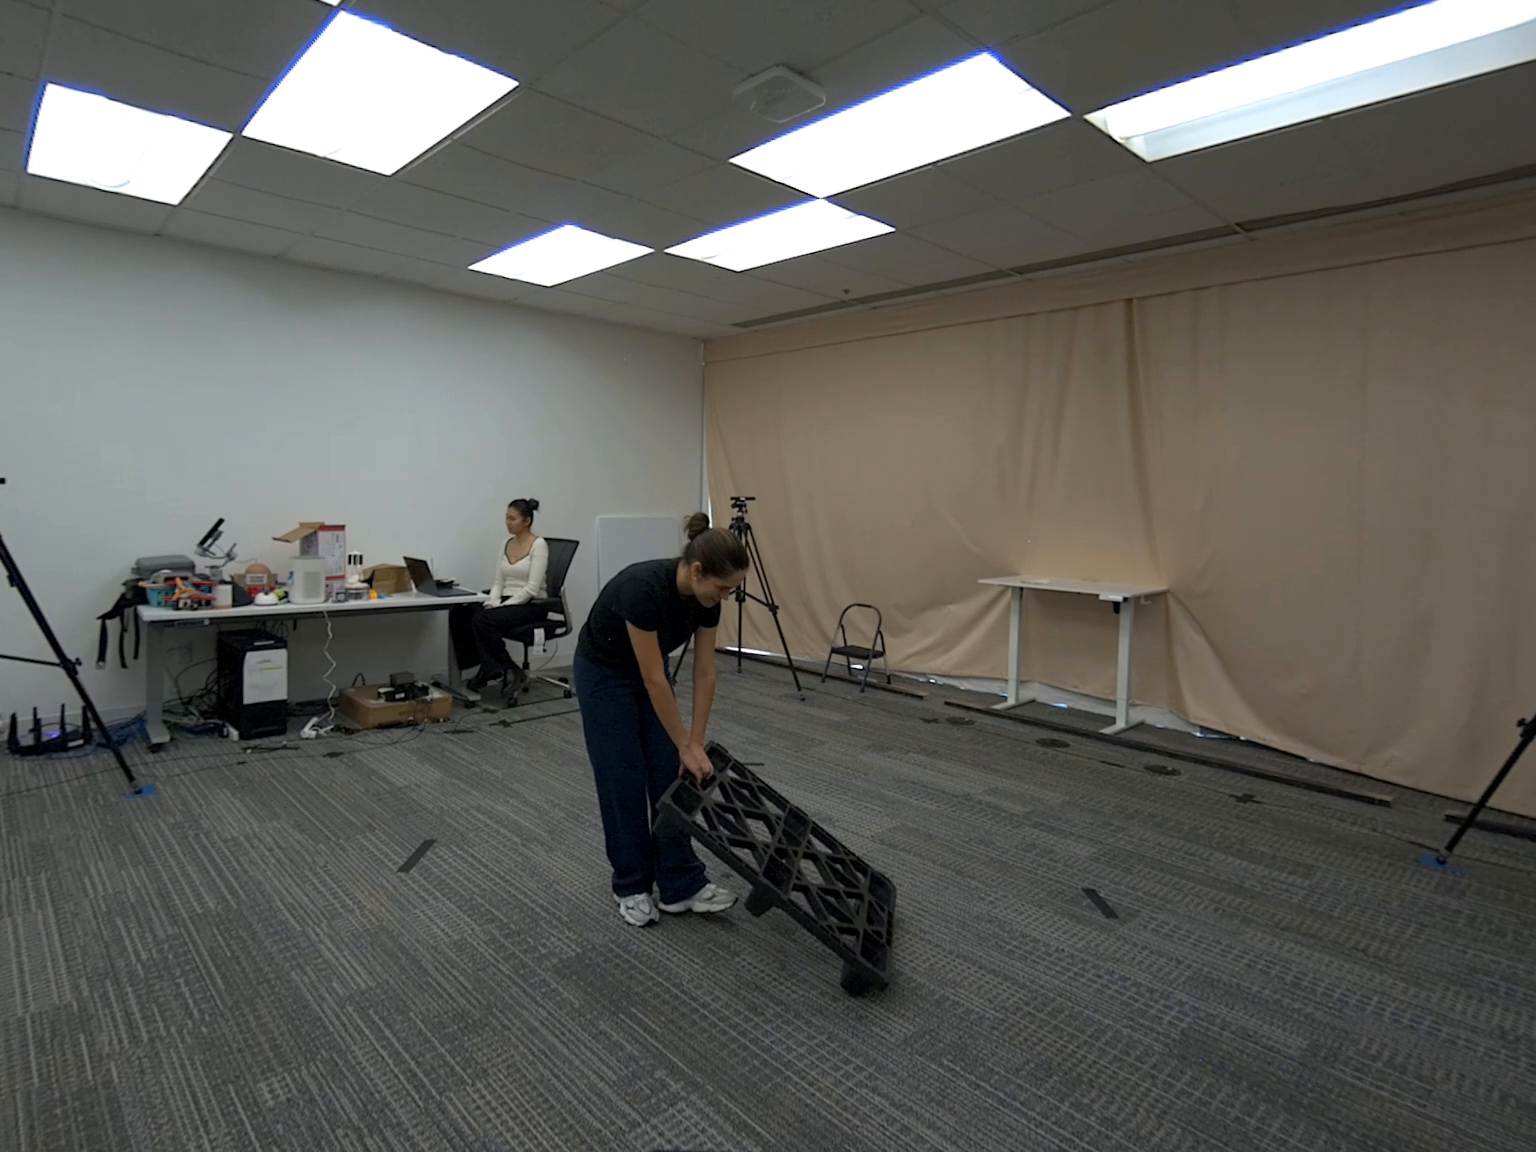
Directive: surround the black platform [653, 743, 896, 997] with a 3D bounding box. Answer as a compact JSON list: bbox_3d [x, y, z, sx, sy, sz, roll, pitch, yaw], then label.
[{"bbox_3d":[0.029,0.893,2.627,0.812,0.143,0.601,37,9,7],"label":"black platform"}]
